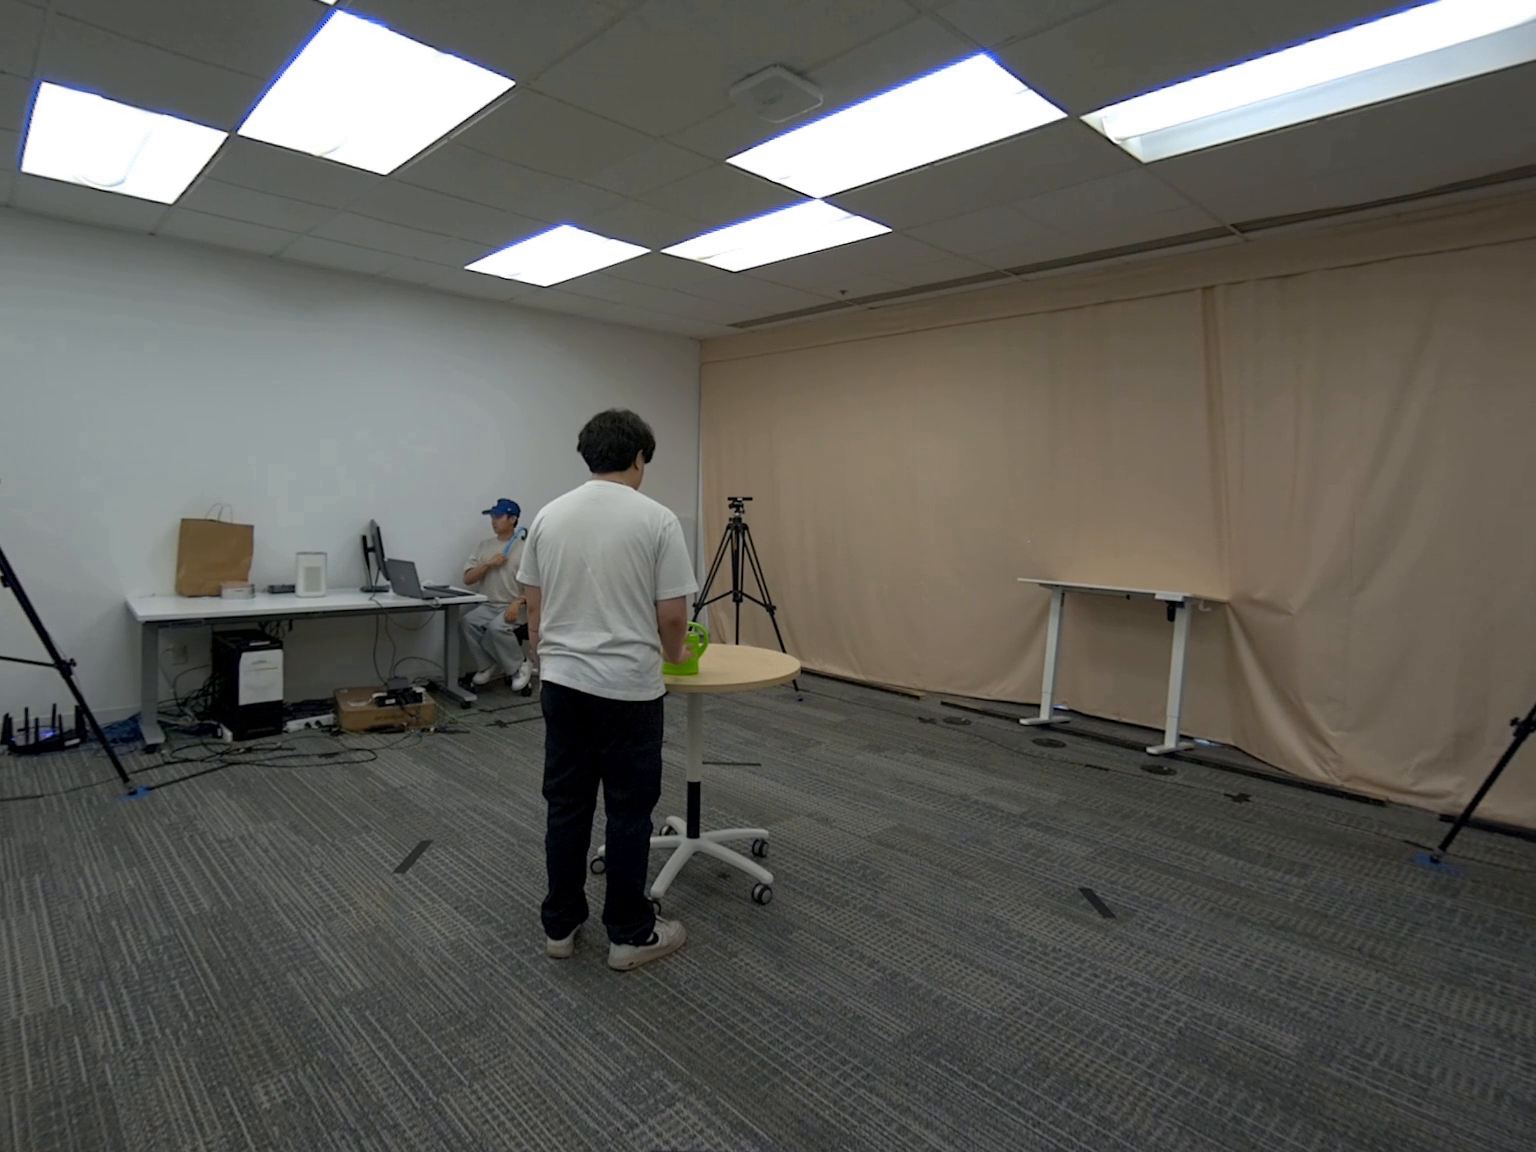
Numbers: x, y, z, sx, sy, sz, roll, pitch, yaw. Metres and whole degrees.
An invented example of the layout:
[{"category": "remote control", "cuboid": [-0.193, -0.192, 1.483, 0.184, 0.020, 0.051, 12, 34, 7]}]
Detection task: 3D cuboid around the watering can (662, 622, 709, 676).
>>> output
[{"category": "watering can", "cuboid": [-0.353, 0.249, 2.879, 0.280, 0.176, 0.097, 2, 3, 8]}]
